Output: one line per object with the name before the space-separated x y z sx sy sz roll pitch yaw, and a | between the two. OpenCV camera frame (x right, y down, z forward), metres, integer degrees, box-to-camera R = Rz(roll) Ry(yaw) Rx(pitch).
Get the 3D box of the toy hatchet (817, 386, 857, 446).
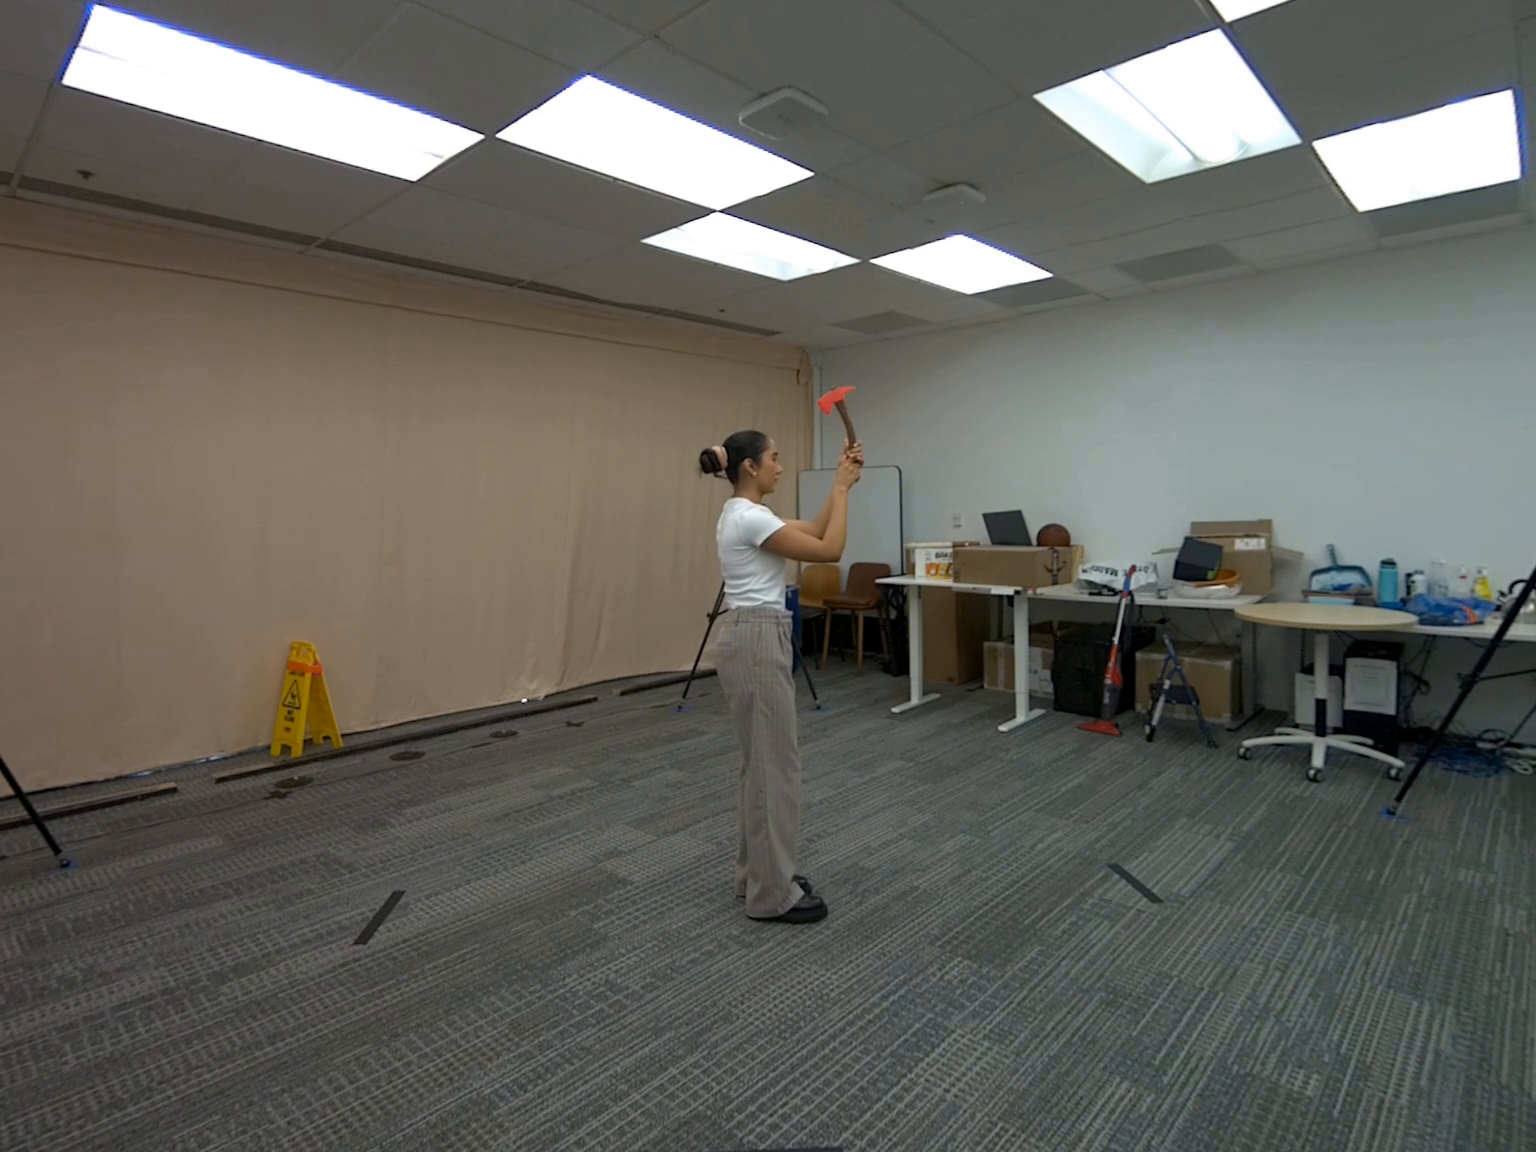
toy hatchet | 0.247 -0.522 2.907 0.131 0.269 0.029 -4 7 4
